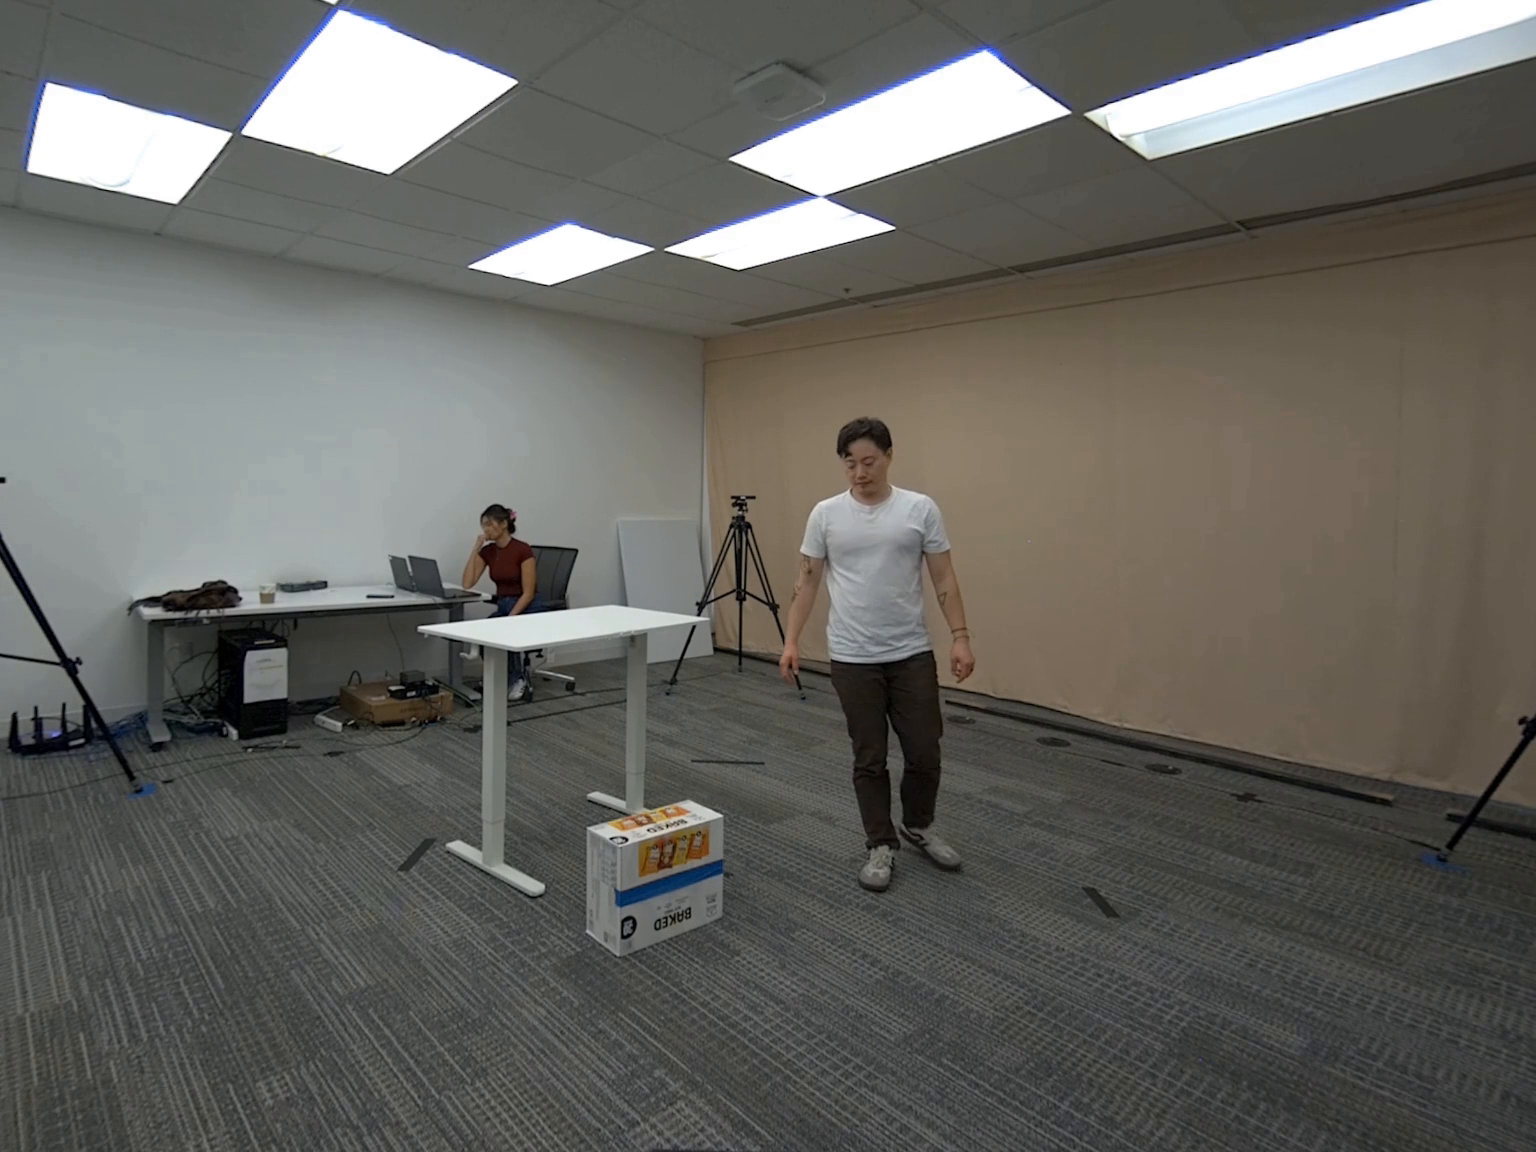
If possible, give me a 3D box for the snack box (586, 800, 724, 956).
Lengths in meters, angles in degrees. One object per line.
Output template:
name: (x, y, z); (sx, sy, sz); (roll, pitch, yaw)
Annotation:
snack box: (-0.370, 0.965, 2.720); (0.396, 0.340, 0.211); (-2, 3, -41)
